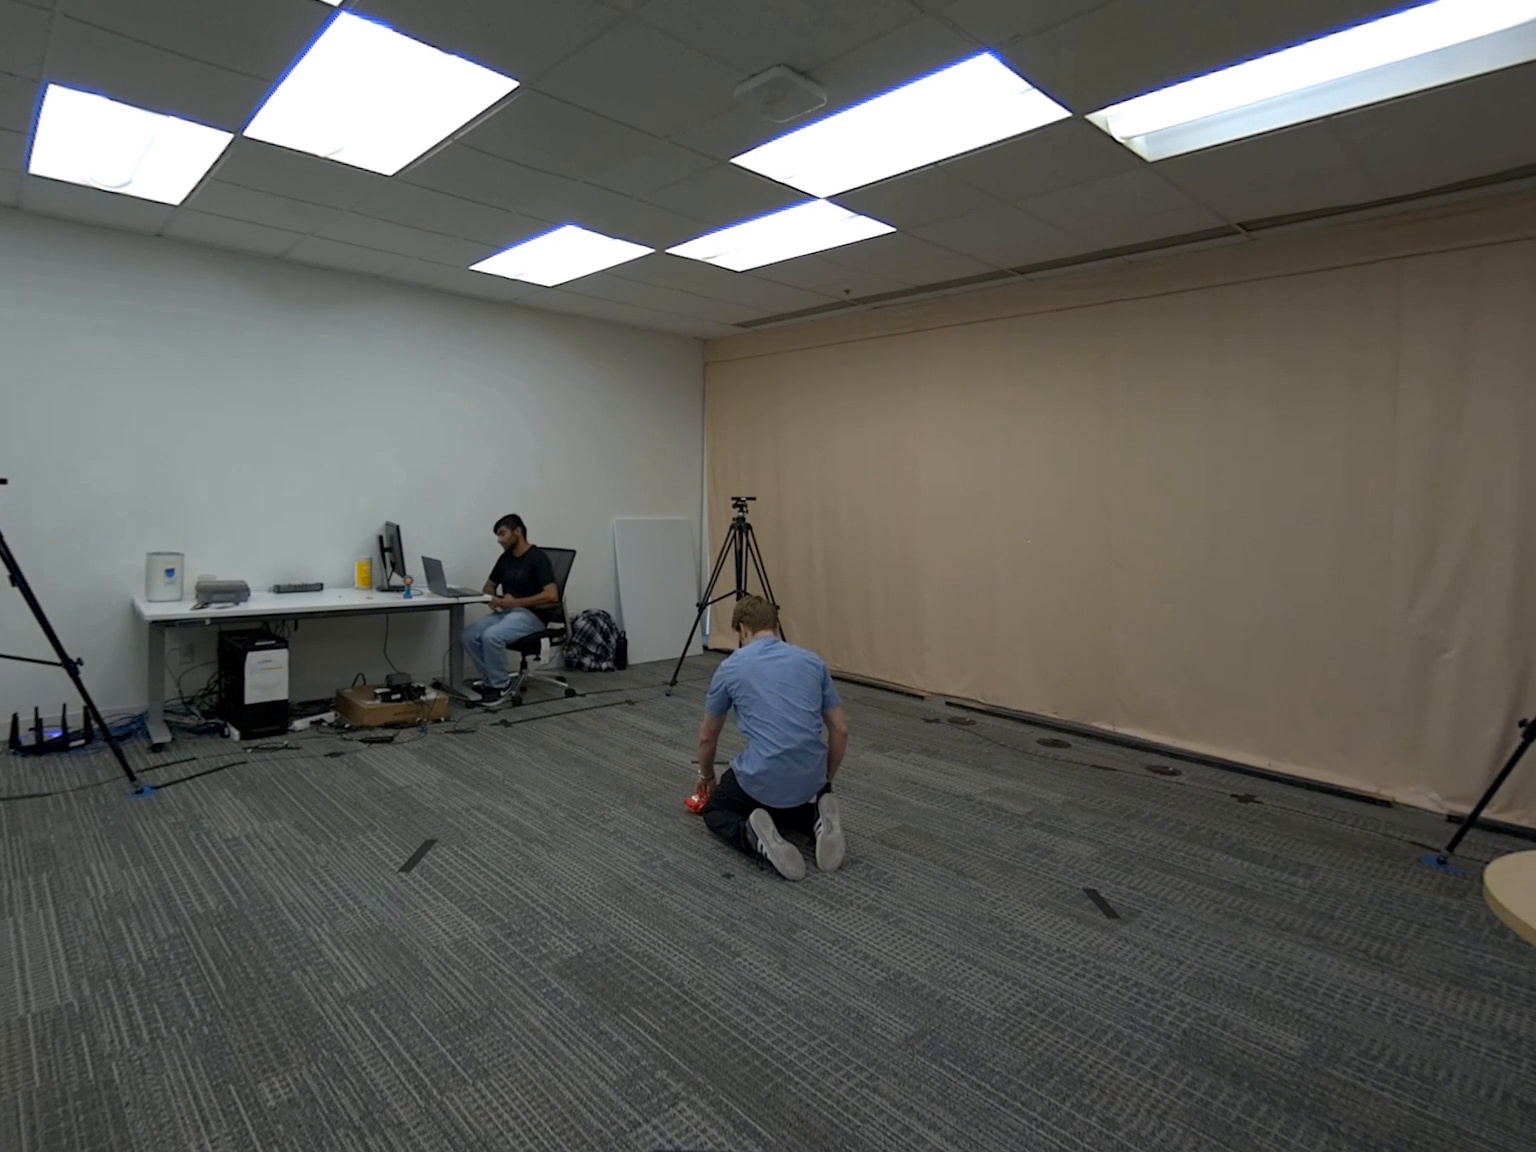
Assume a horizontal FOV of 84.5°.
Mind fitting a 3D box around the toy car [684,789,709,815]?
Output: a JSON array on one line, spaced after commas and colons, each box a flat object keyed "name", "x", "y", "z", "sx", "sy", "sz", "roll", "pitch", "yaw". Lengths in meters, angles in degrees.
[{"name": "toy car", "x": -0.265, "y": 1.014, "z": 3.777, "sx": 0.248, "sy": 0.083, "sz": 0.133, "roll": 10, "pitch": 1, "yaw": -30}]
